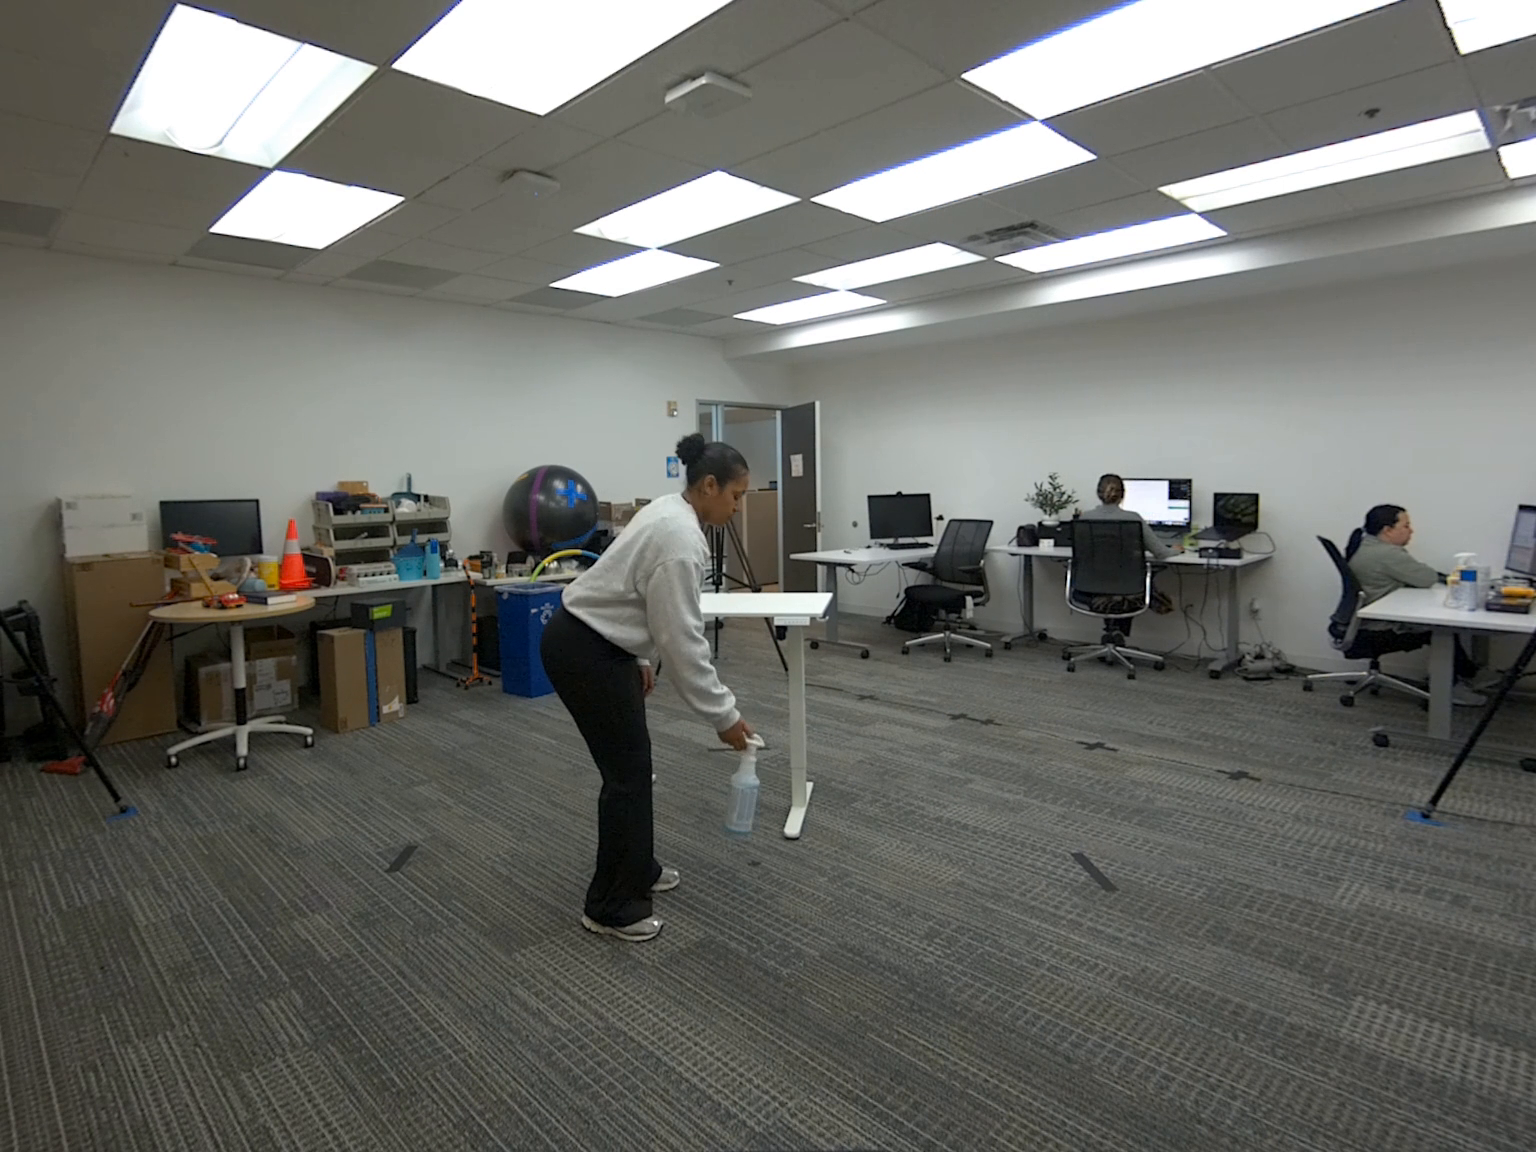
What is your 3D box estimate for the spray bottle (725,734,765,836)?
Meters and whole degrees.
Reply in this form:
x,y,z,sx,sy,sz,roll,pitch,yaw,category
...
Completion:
x,y,z,sx,sy,sz,roll,pitch,yaw,category
-0.069,0.619,2.565,0.091,0.297,0.085,6,1,15,spray bottle
